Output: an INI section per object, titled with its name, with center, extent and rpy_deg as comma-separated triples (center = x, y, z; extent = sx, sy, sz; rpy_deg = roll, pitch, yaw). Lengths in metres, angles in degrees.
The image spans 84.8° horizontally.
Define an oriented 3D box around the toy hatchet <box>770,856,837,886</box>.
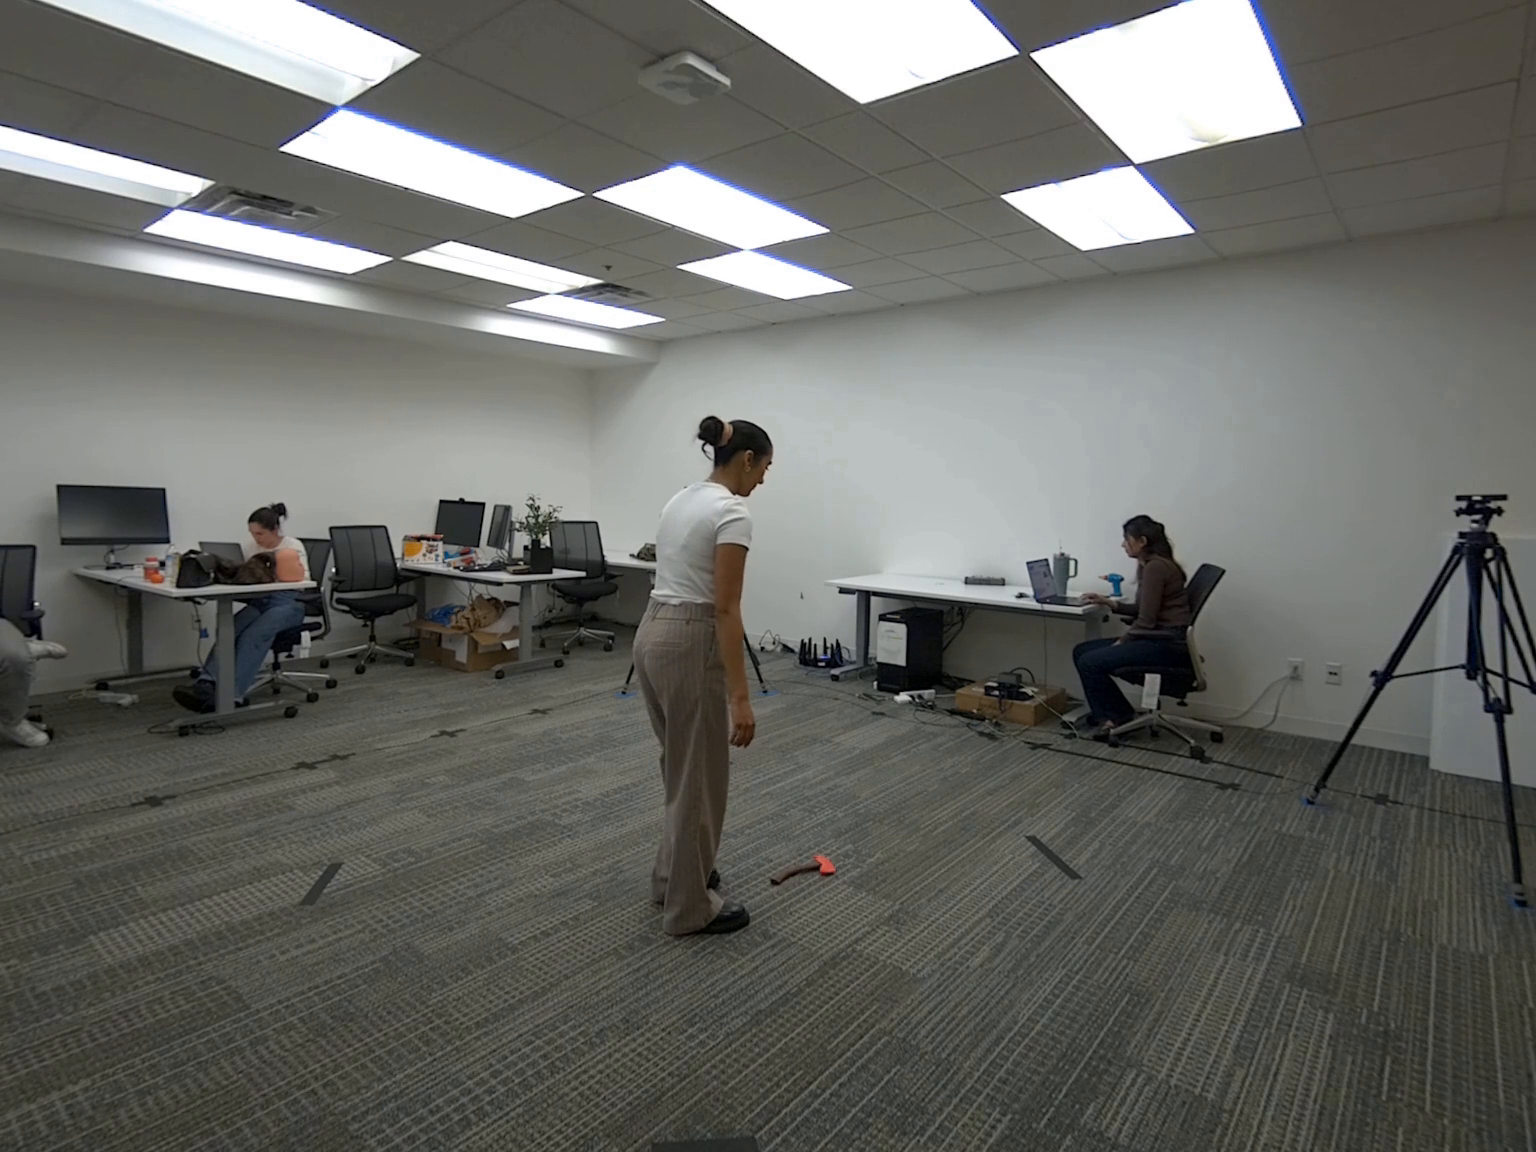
[toy hatchet]
center = 0.136, 1.065, 3.060
extent = 0.136, 0.029, 0.262
rpy_deg = 8, 11, 41
